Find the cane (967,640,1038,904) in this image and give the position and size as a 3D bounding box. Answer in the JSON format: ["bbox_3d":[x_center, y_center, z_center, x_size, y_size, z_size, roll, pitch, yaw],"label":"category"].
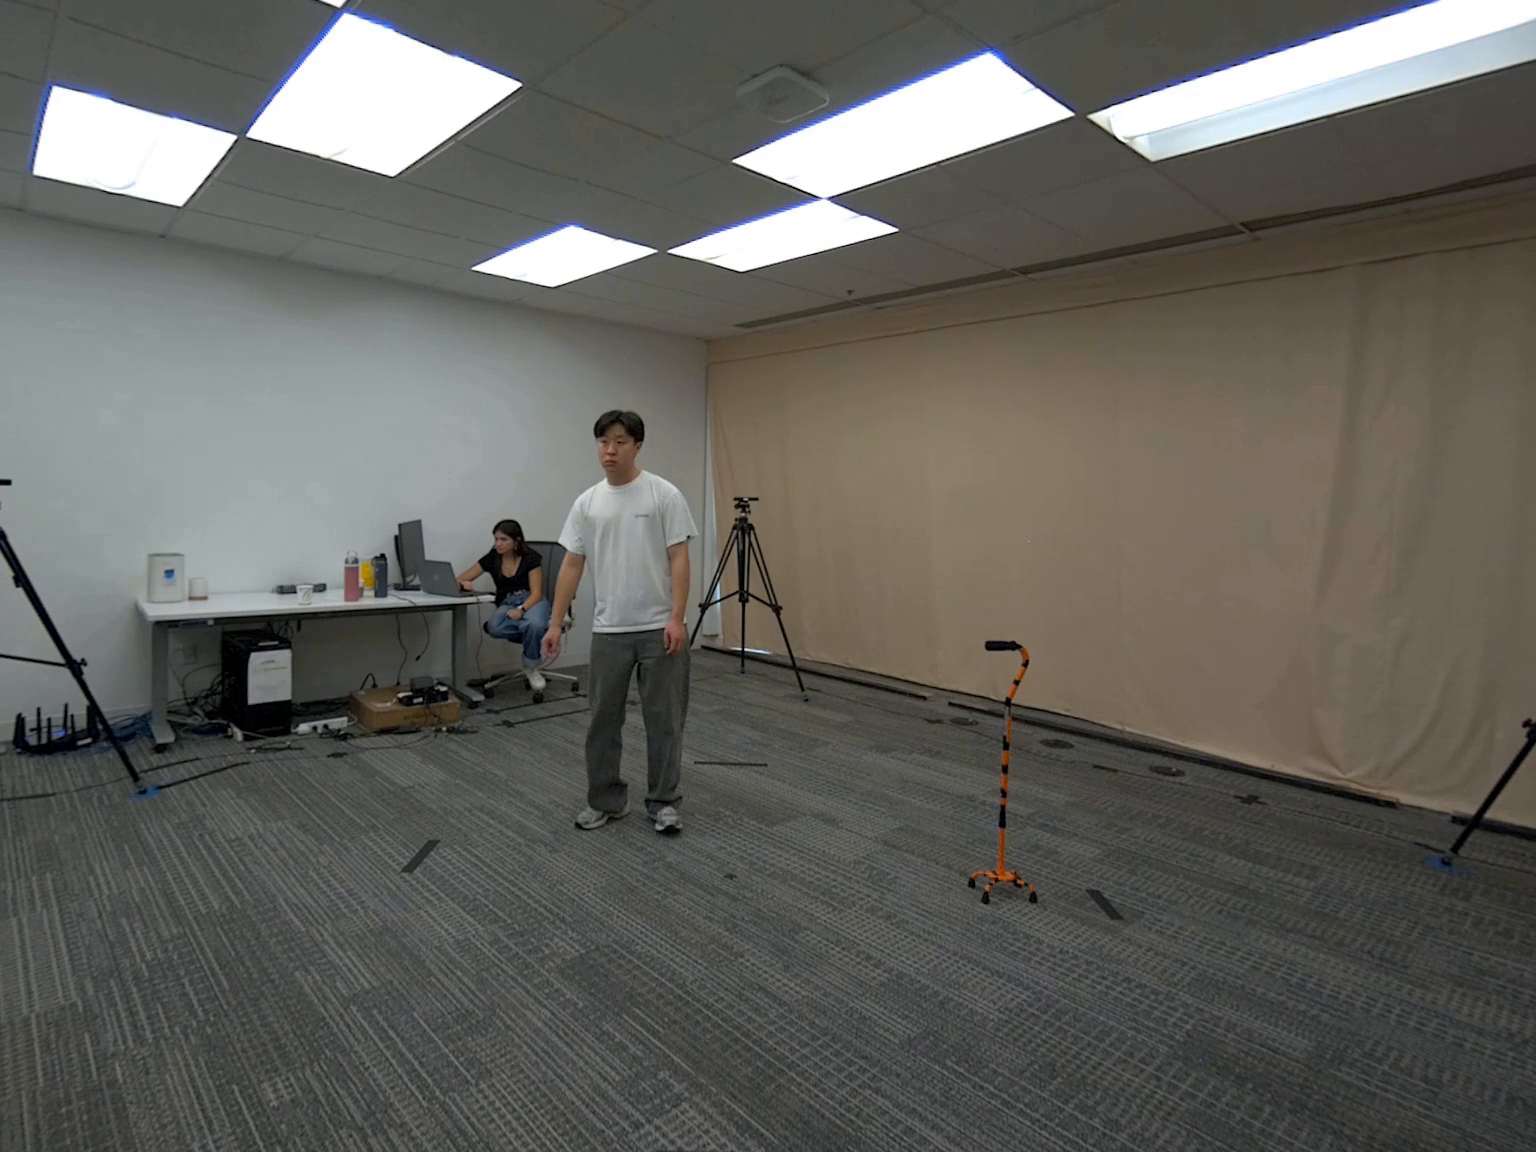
[{"bbox_3d":[0.847,0.688,2.997,0.205,0.906,0.153,2,2,-8],"label":"cane"}]
